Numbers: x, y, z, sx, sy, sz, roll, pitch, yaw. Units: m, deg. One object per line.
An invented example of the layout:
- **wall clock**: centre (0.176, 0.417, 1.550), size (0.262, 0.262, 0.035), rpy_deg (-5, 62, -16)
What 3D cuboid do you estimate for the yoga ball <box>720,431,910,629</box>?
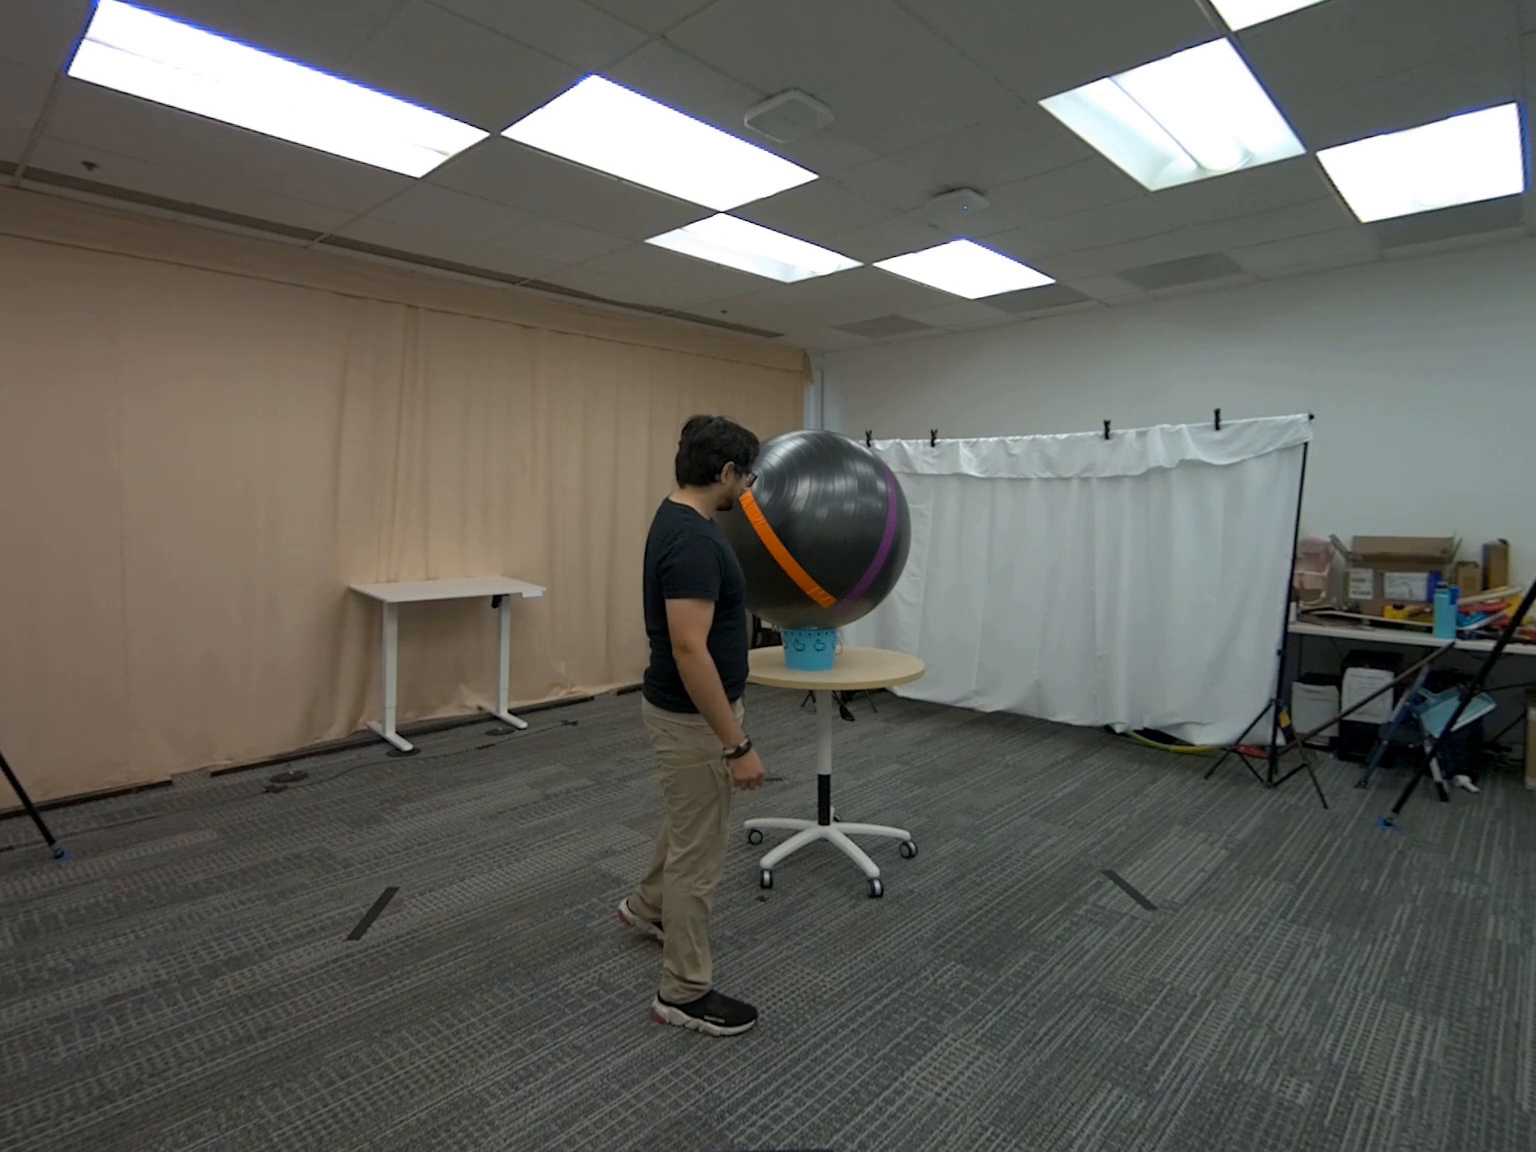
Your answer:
- **yoga ball**: centre (0.160, -0.165, 3.177), size (0.757, 0.756, 0.760), rpy_deg (0, 4, -2)
